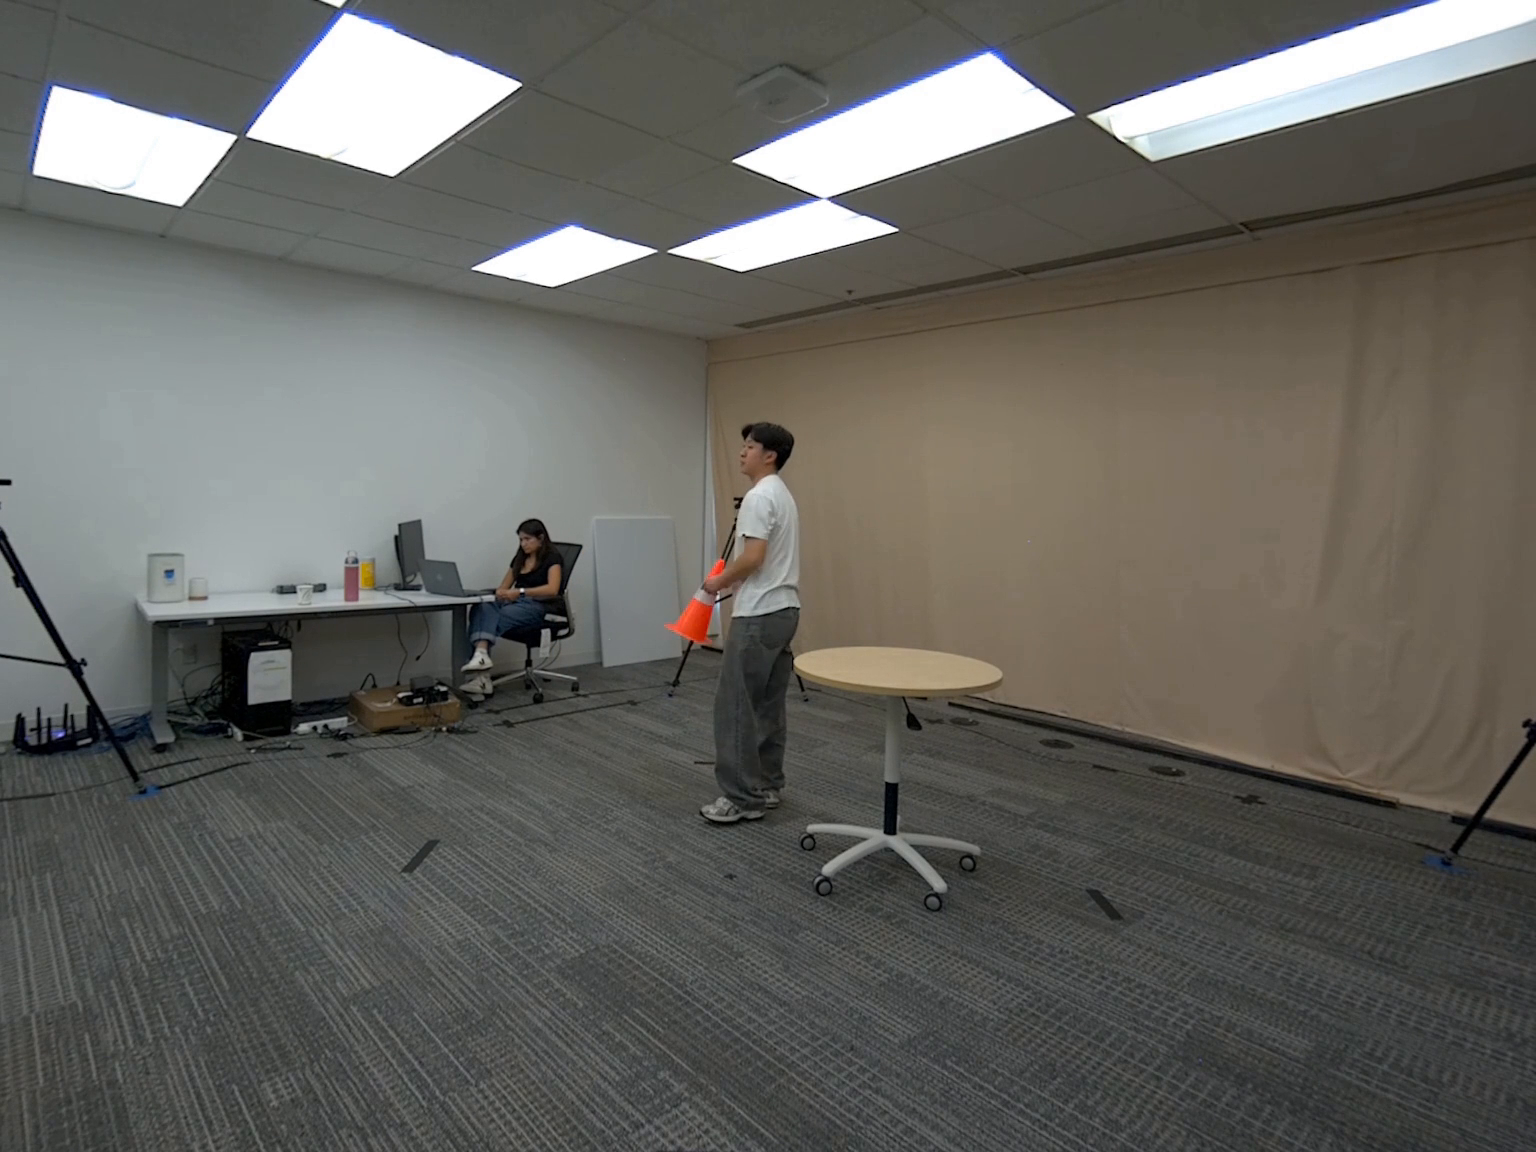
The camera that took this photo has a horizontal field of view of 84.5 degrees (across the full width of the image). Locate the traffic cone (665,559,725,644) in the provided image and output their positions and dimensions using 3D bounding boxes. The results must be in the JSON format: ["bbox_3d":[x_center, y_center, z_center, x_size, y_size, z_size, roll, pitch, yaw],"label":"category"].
[{"bbox_3d":[-0.297,0.102,3.919,0.209,0.382,0.200,26,8,33],"label":"traffic cone"}]
